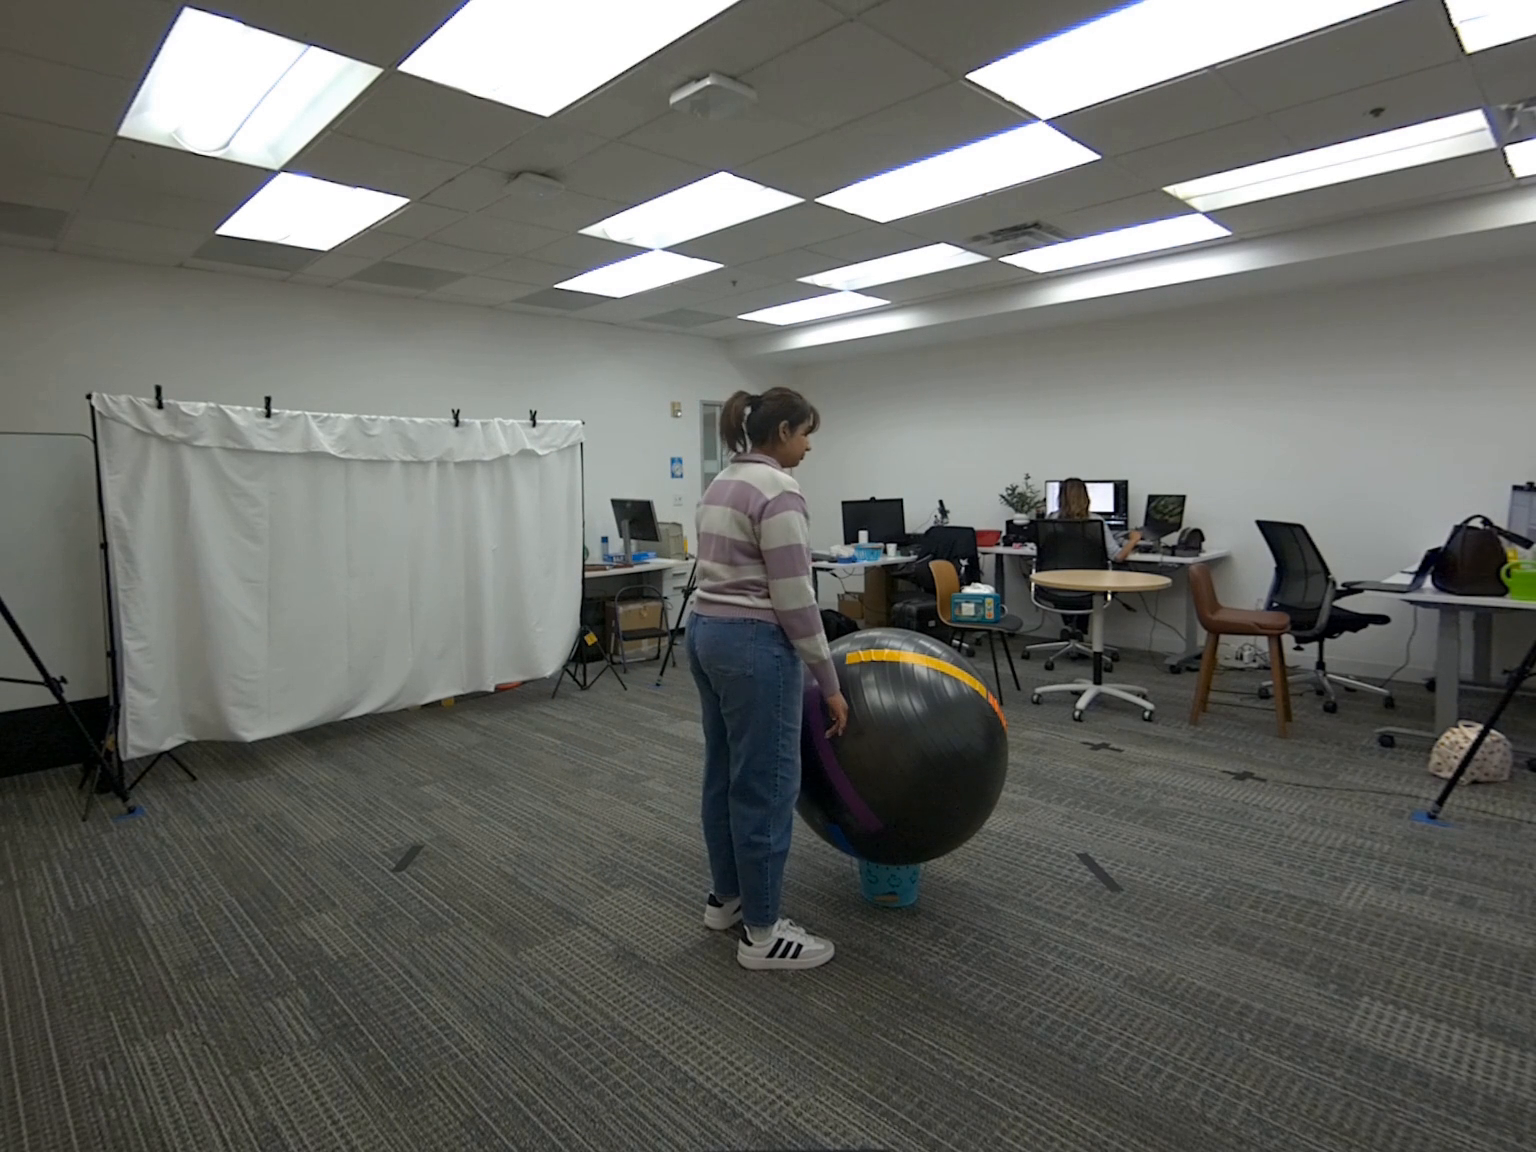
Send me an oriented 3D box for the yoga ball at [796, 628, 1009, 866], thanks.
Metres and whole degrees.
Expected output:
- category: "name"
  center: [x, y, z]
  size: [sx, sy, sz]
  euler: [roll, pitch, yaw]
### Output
- category: "yoga ball"
  center: [0.409, 0.559, 2.837]
  size: [0.757, 0.755, 0.762]
  euler: [-1, 5, -2]
